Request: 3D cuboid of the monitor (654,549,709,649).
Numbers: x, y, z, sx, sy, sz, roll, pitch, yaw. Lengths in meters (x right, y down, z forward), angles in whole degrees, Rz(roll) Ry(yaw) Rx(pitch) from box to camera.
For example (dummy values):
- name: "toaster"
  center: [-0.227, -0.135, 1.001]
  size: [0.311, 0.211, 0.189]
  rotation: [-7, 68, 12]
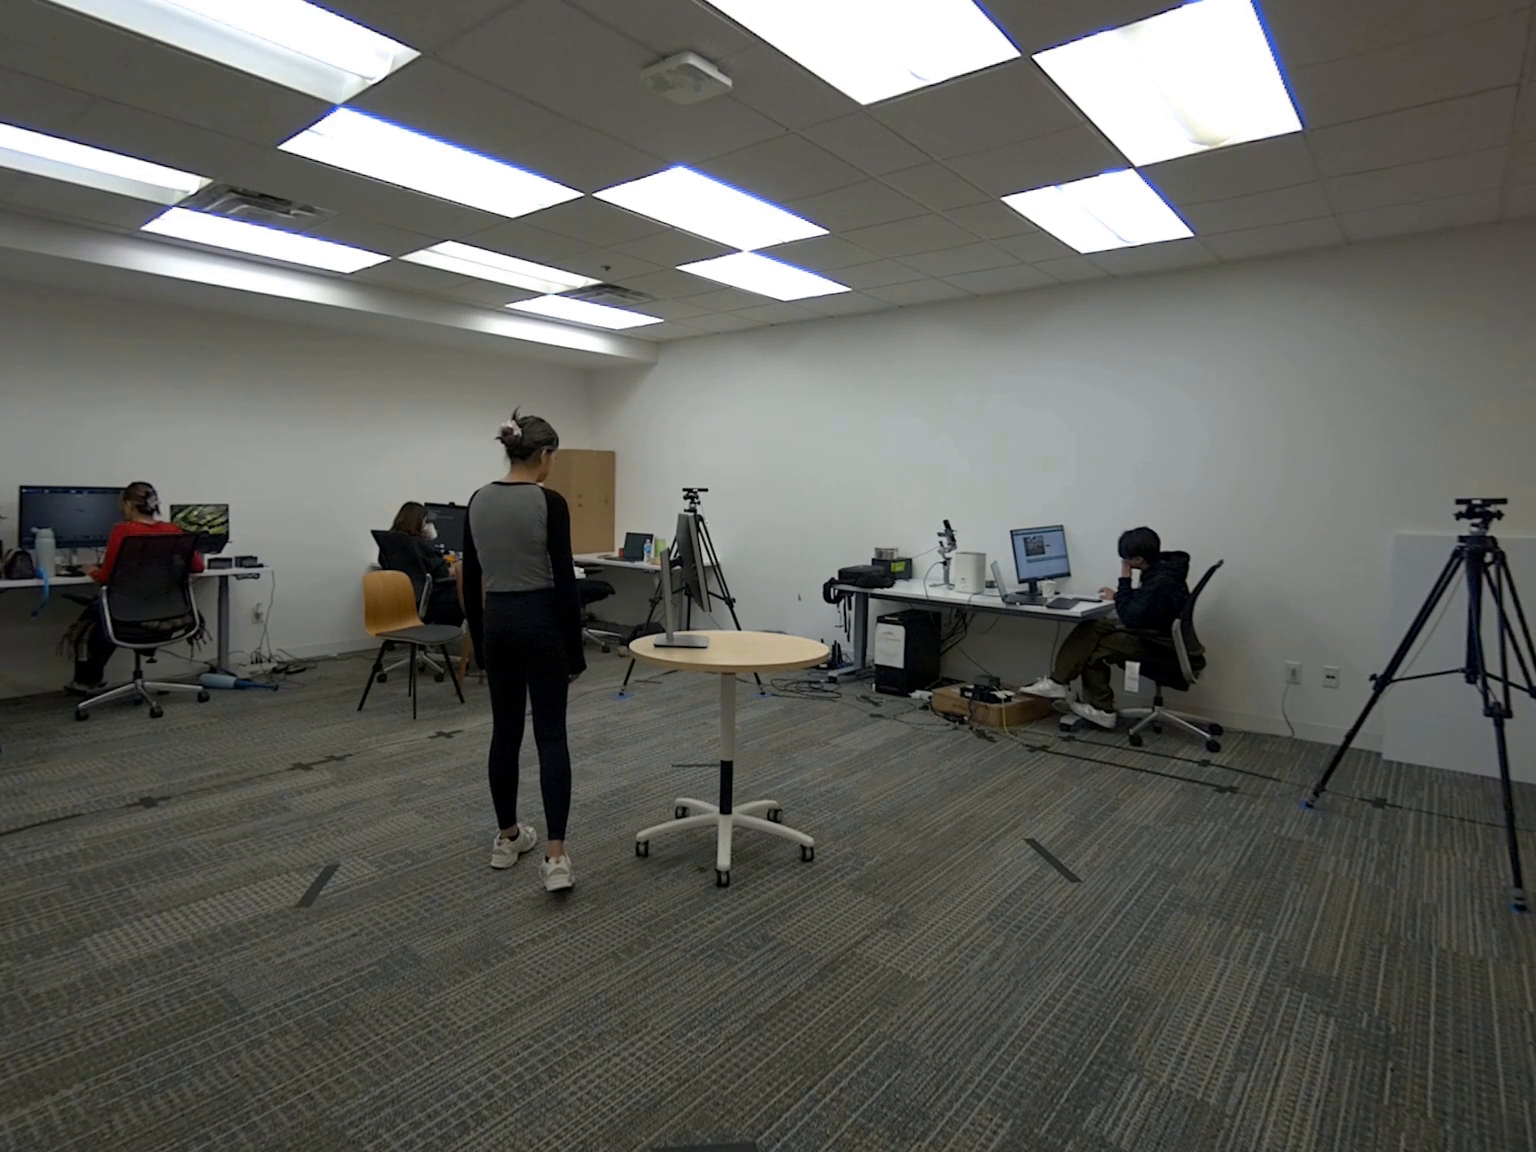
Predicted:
- name: "monitor"
  center: [-0.341, 0.010, 3.306]
  size: [0.185, 0.522, 0.547]
  rotation: [3, 3, -13]
